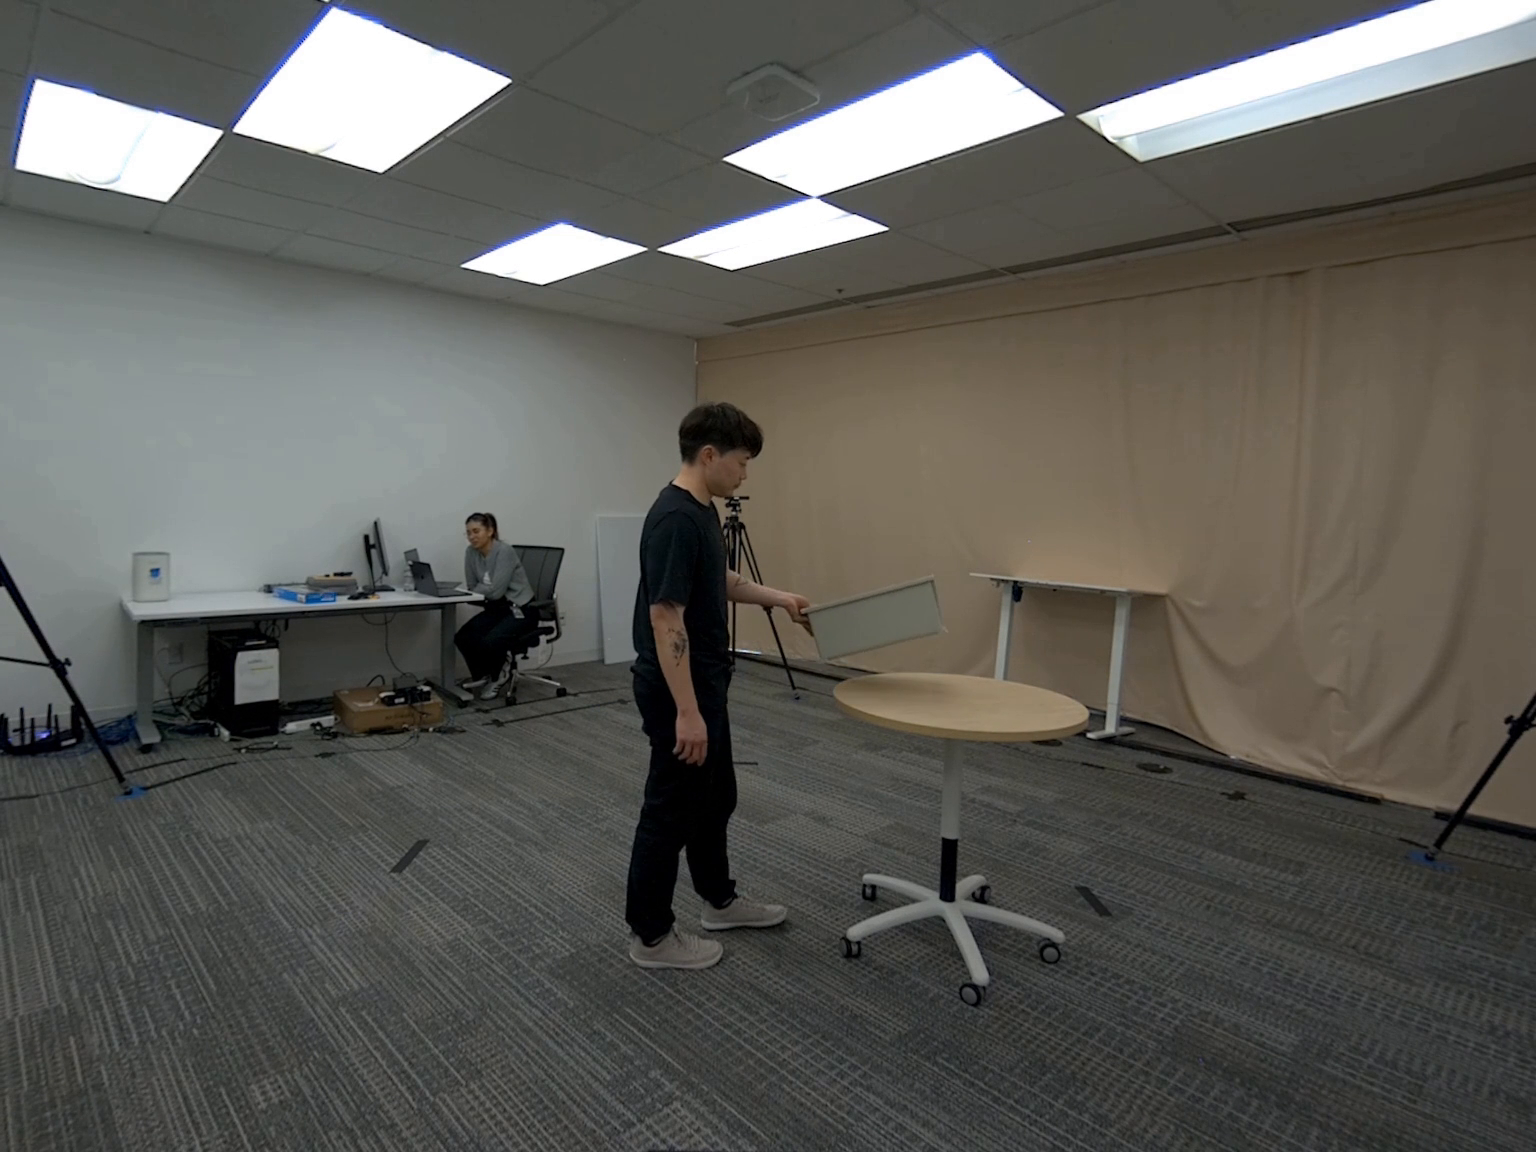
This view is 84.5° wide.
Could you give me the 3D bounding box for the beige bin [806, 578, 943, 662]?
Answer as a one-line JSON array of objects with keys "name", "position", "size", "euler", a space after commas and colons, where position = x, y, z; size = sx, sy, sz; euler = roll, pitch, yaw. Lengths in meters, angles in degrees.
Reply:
[{"name": "beige bin", "position": [0.346, 0.137, 2.753], "size": [0.425, 0.189, 0.375], "euler": [-14, 0, 9]}]
